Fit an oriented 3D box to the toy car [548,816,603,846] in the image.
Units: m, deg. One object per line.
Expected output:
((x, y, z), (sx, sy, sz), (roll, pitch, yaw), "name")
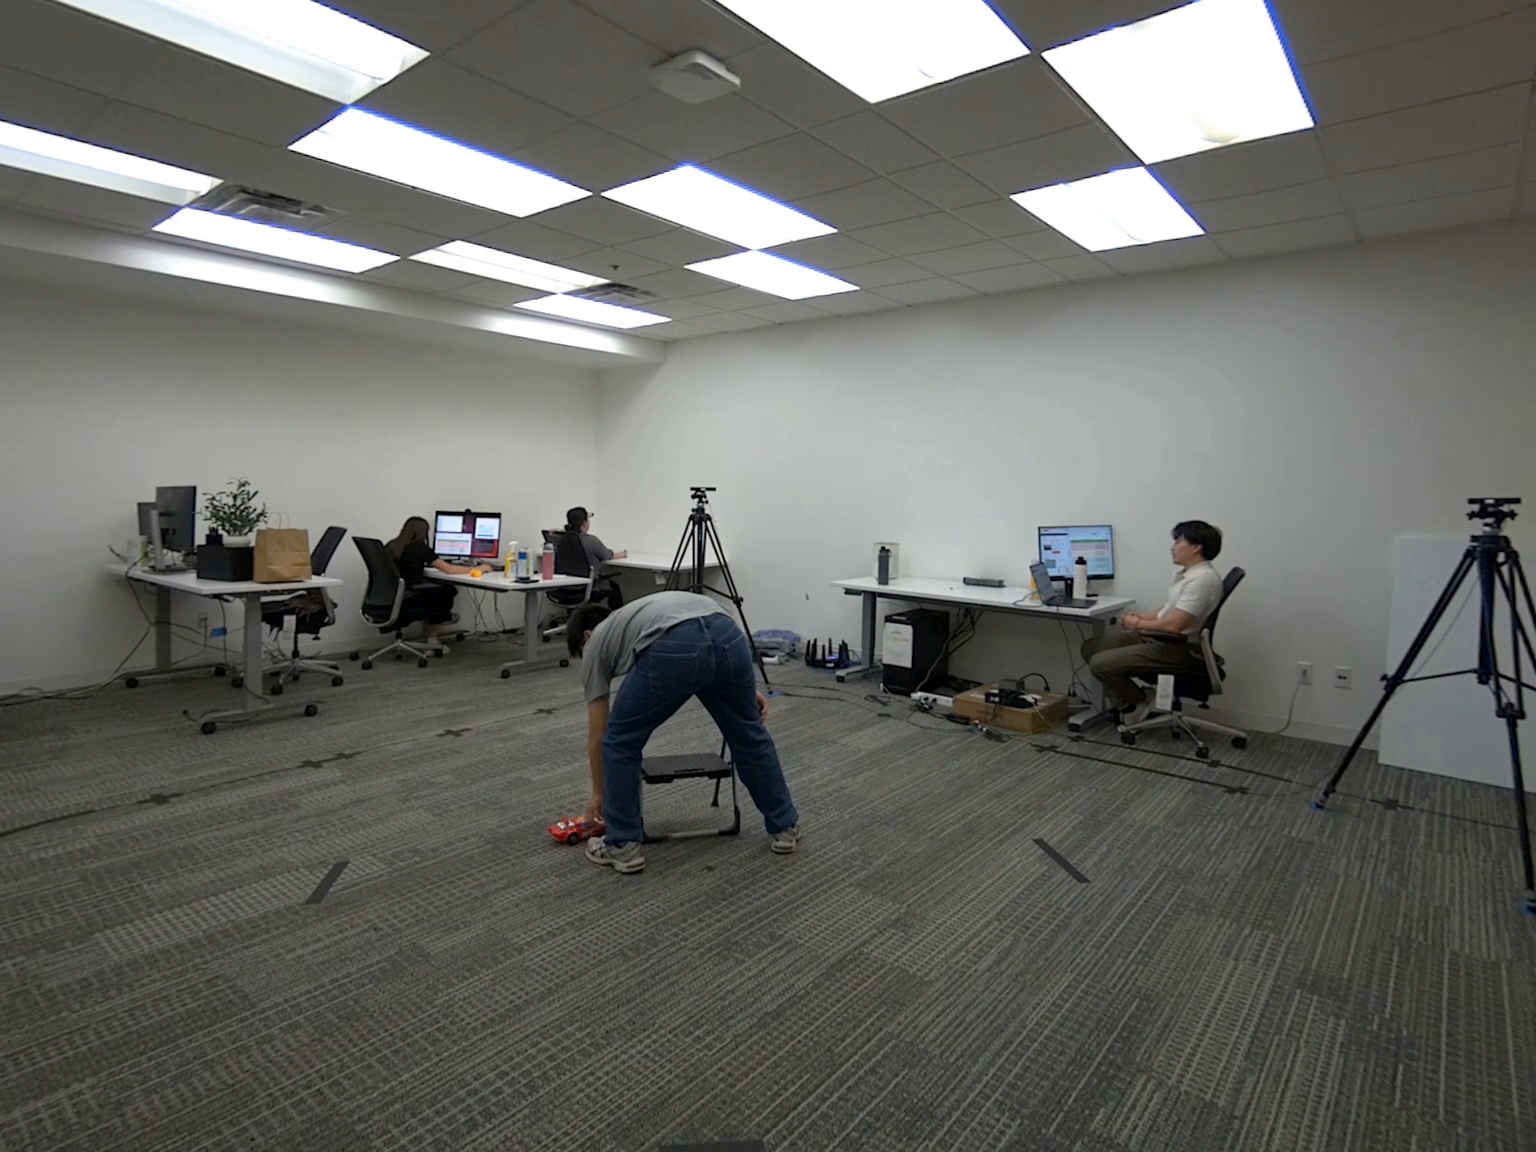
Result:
((-0.760, 1.000, 3.361), (0.246, 0.083, 0.134), (10, -3, -35), "toy car")
